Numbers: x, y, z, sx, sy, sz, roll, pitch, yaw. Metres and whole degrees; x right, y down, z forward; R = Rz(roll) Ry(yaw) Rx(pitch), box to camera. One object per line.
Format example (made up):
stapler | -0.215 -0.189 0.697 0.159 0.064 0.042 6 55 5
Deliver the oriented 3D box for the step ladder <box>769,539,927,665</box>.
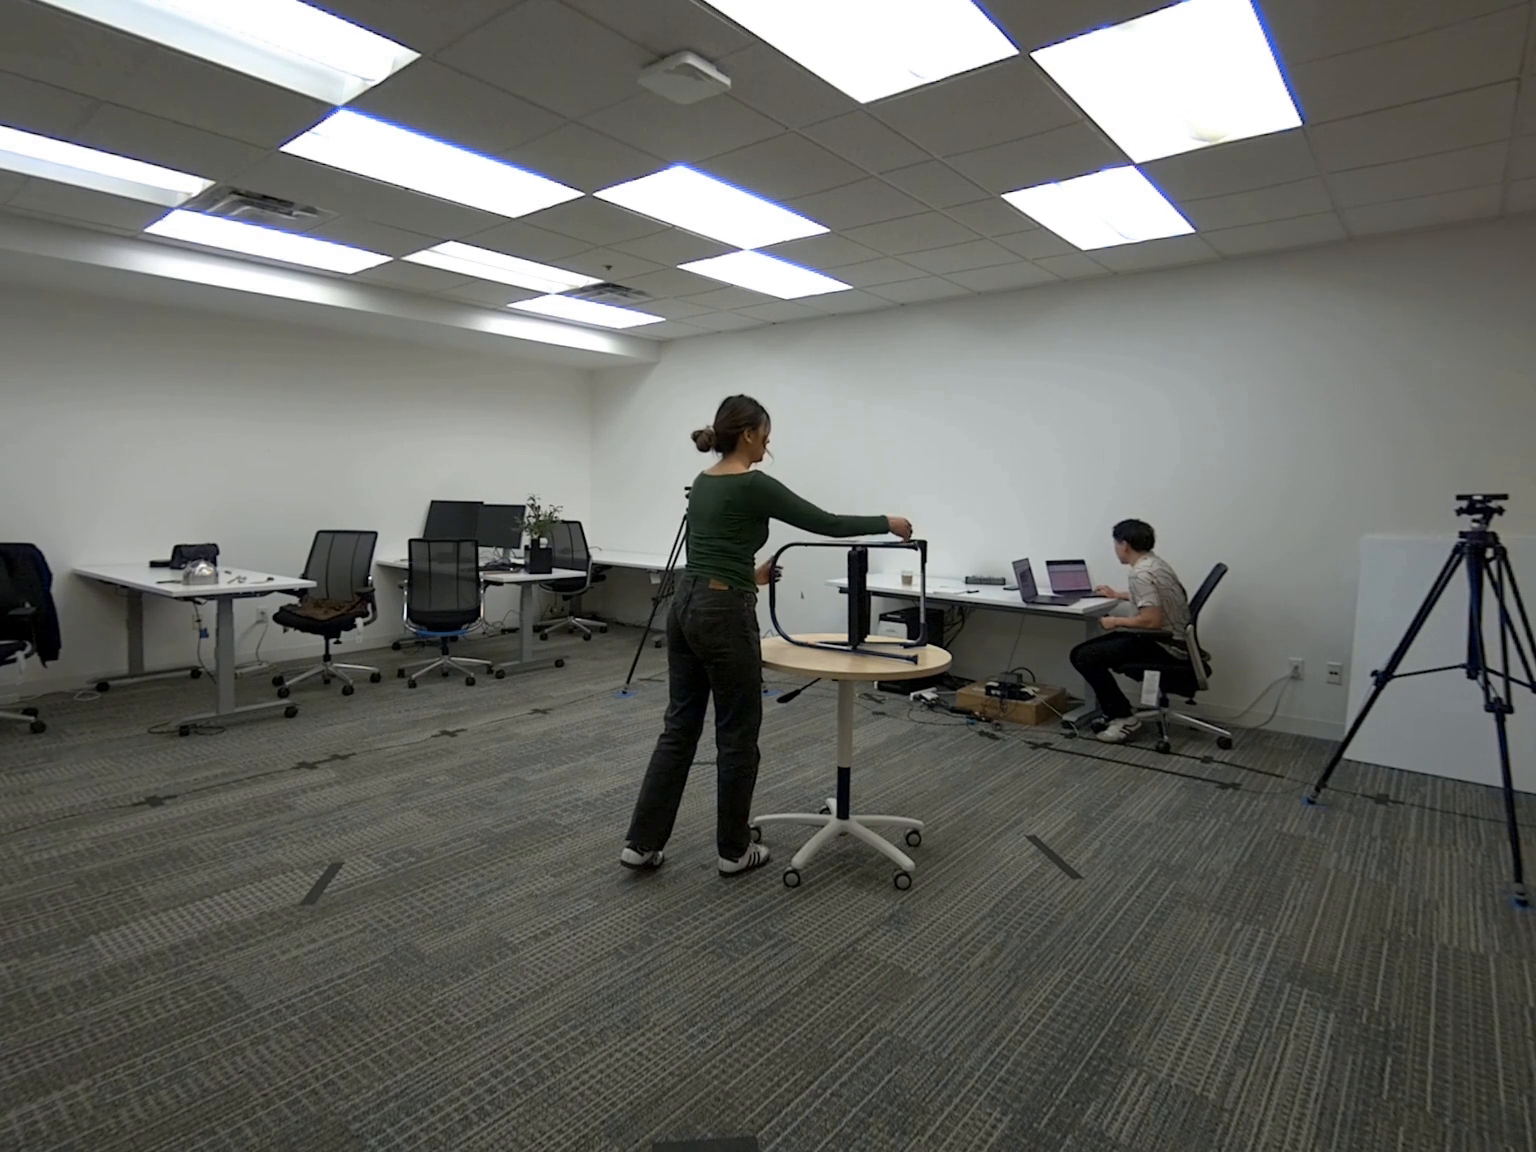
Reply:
step ladder | 0.274 0.073 3.210 0.618 0.430 0.343 1 2 18
